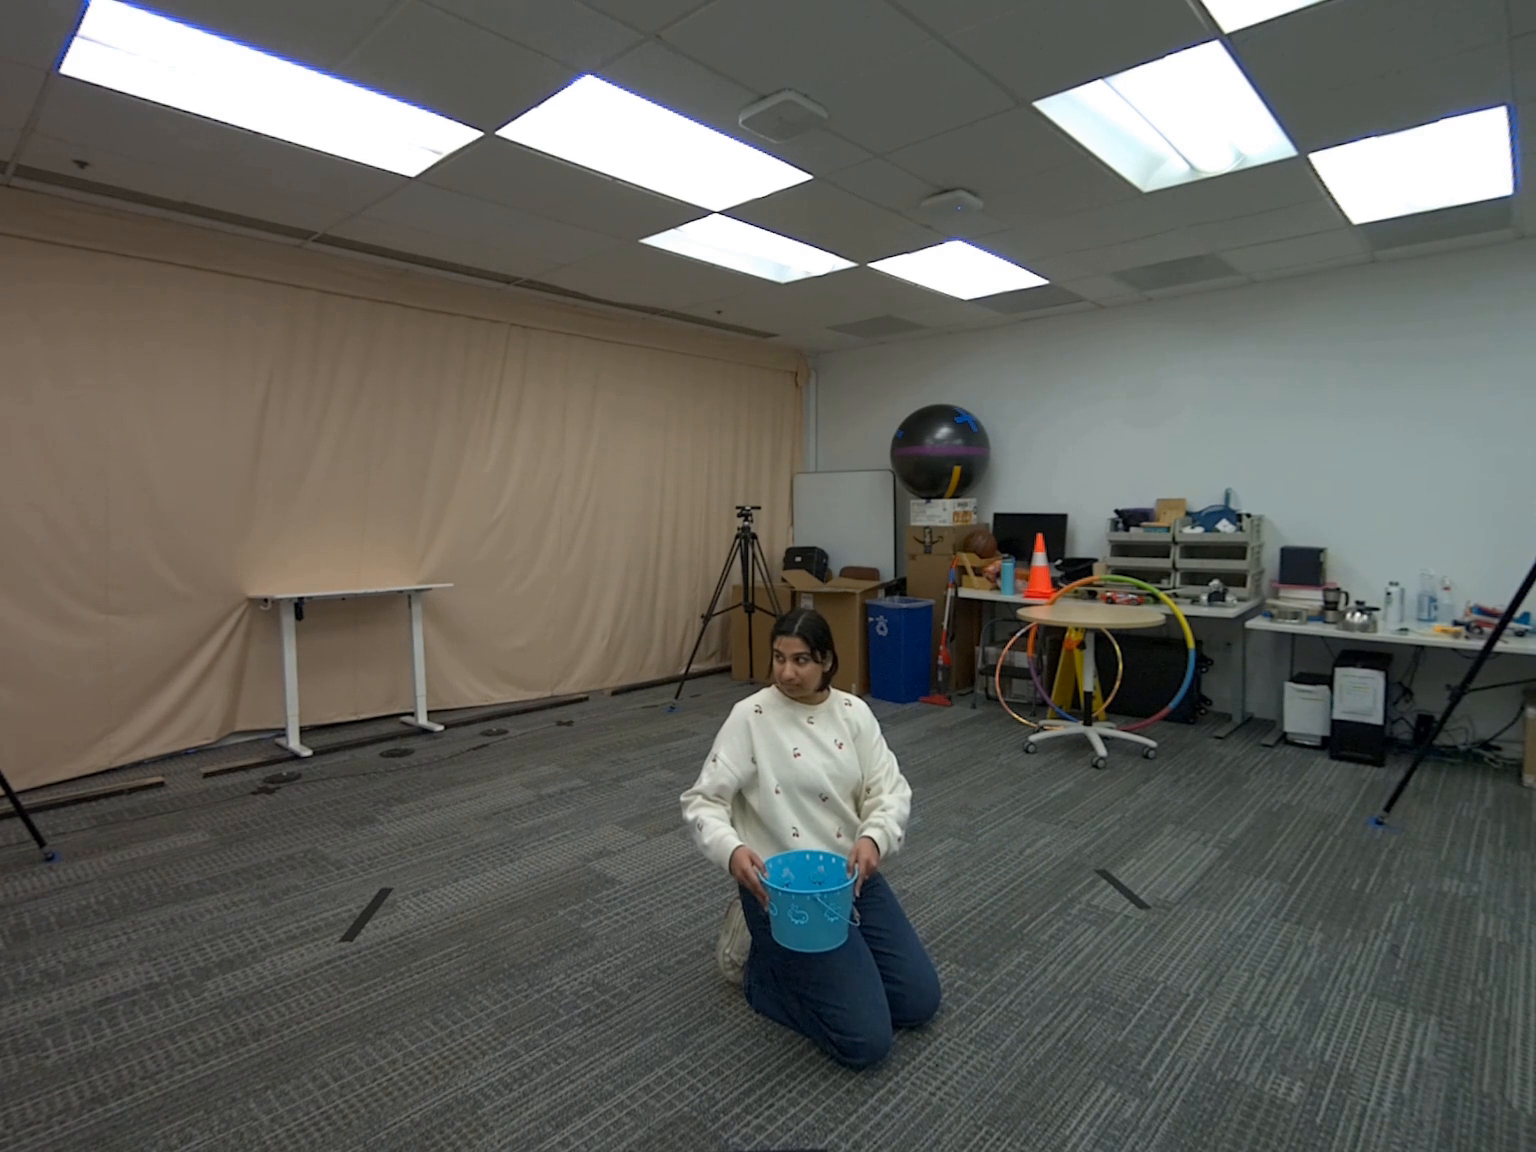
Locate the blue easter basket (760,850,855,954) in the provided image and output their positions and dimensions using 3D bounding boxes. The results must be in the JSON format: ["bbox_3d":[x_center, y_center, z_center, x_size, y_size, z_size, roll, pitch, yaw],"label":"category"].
[{"bbox_3d":[0.105,0.772,1.996,0.243,0.155,0.245,-4,6,-1],"label":"blue easter basket"}]
